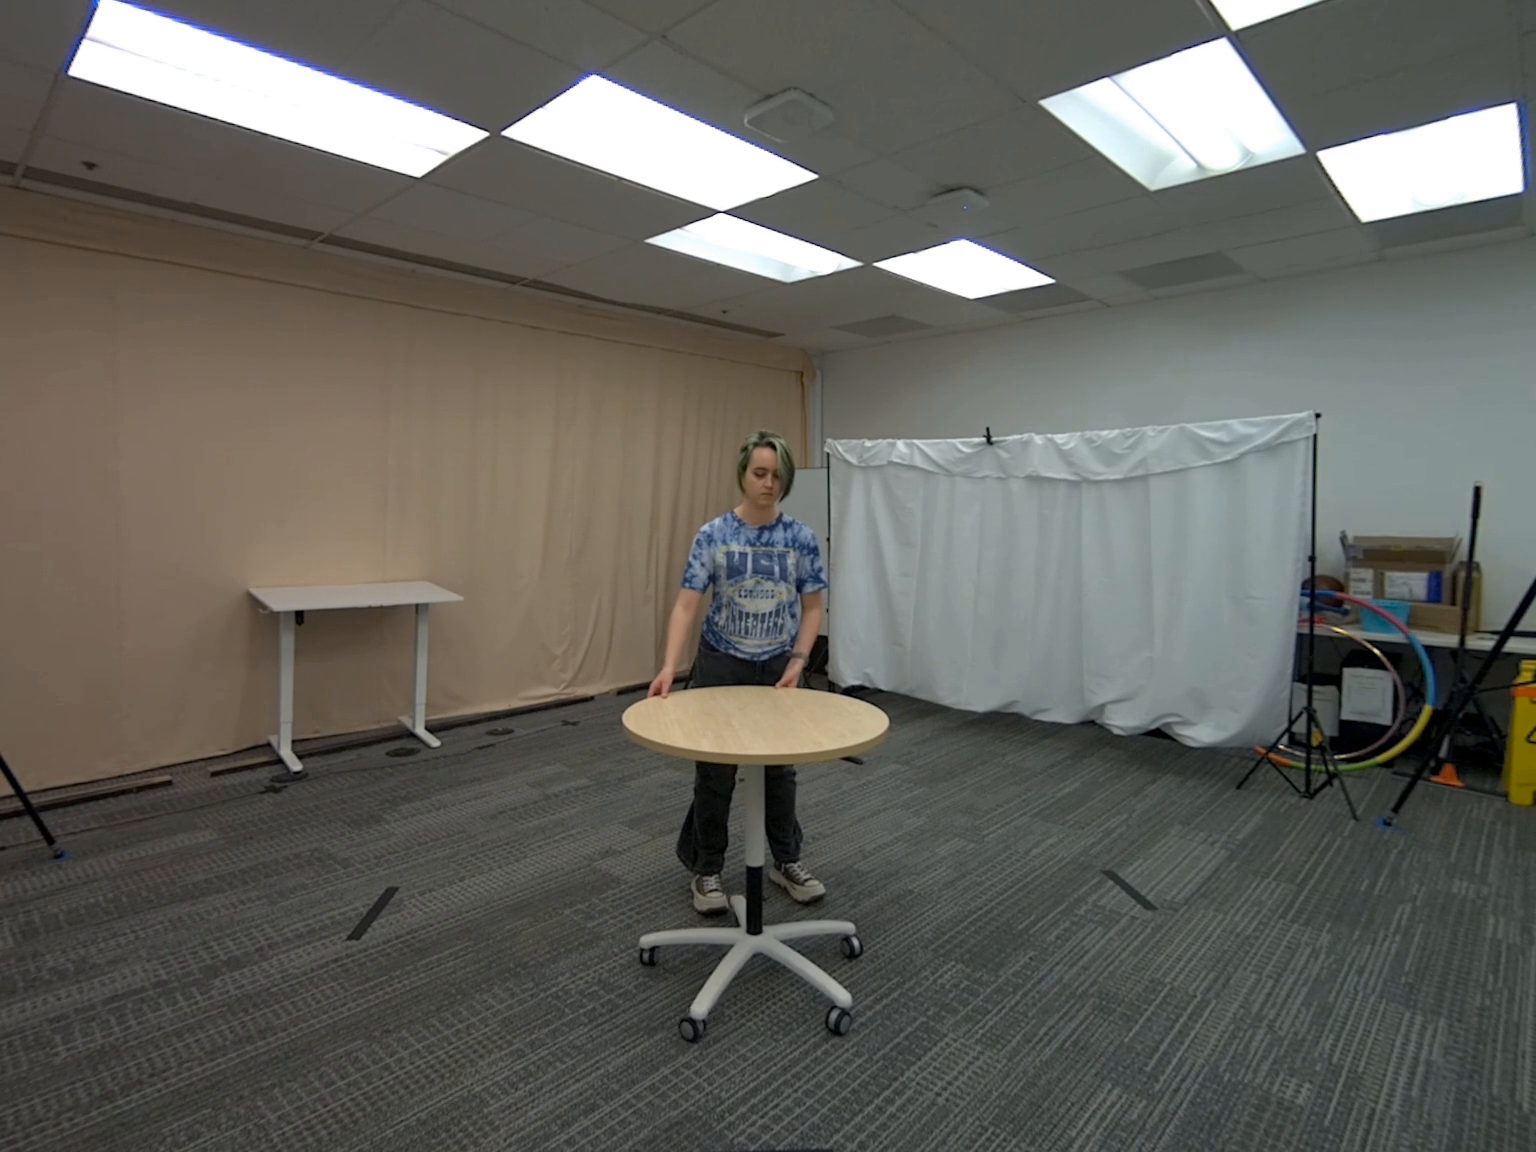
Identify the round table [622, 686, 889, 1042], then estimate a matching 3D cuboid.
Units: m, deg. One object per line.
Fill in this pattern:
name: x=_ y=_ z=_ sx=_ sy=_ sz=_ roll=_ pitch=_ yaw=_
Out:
round table: x=-0.031 y=0.798 z=2.465 sx=0.763 sy=0.792 sz=0.767 roll=0 pitch=4 yaw=-2
